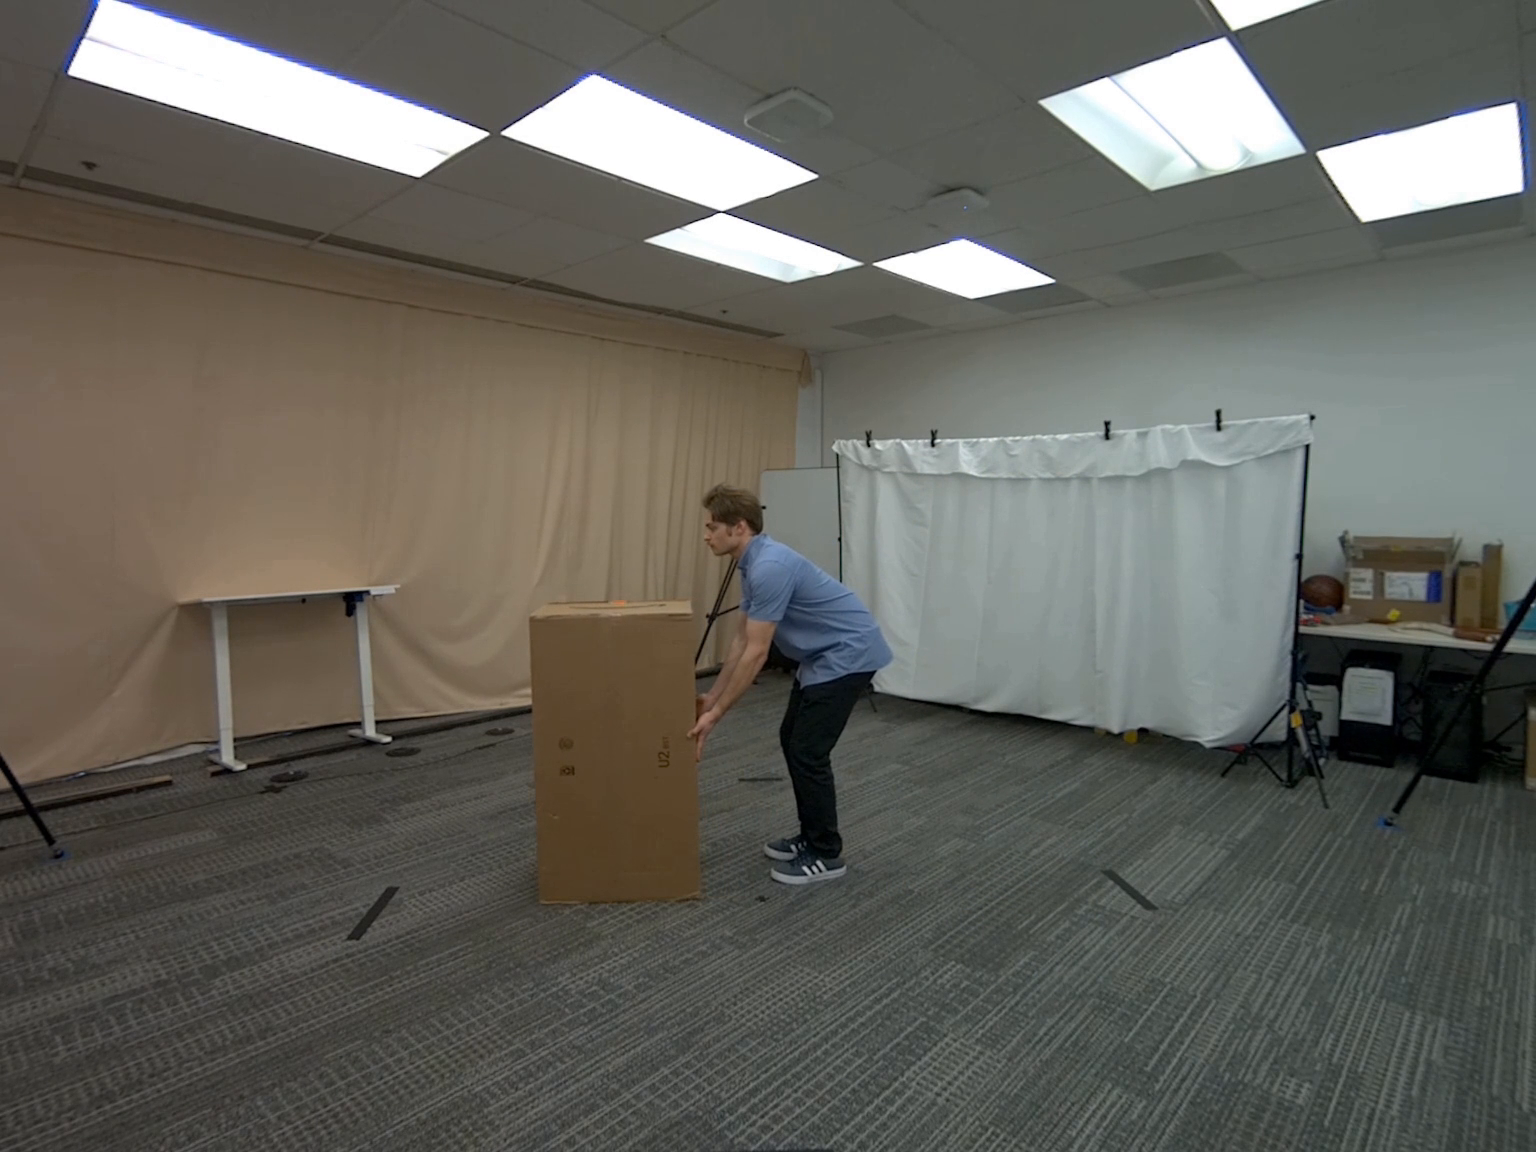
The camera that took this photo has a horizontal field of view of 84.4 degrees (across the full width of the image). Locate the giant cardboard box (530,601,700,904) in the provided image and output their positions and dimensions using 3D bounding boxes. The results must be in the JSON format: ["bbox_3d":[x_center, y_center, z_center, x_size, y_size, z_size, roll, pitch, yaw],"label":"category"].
[{"bbox_3d":[-0.555,0.627,3.158,0.576,1.024,0.428,-1,2,-4],"label":"giant cardboard box"}]
